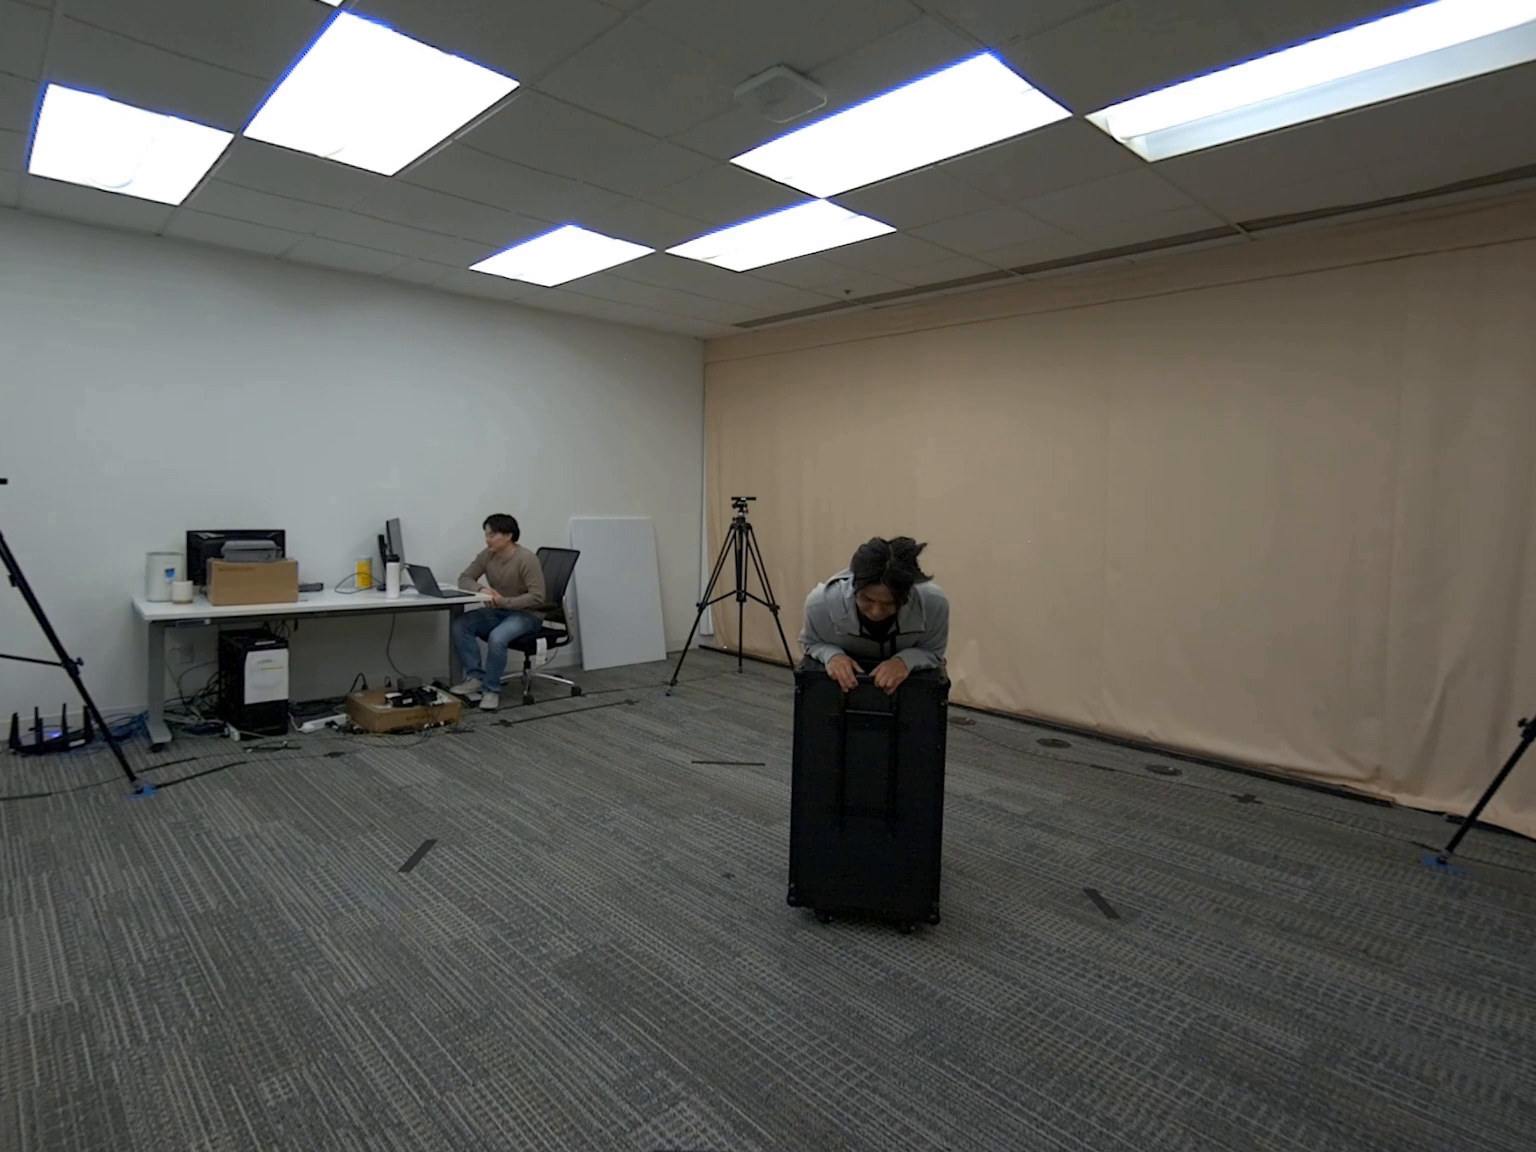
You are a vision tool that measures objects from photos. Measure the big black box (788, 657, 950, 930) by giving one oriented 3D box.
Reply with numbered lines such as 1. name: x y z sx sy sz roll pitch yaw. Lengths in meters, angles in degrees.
1. big black box: 0.335 0.725 2.822 0.526 0.859 0.393 2 3 11
